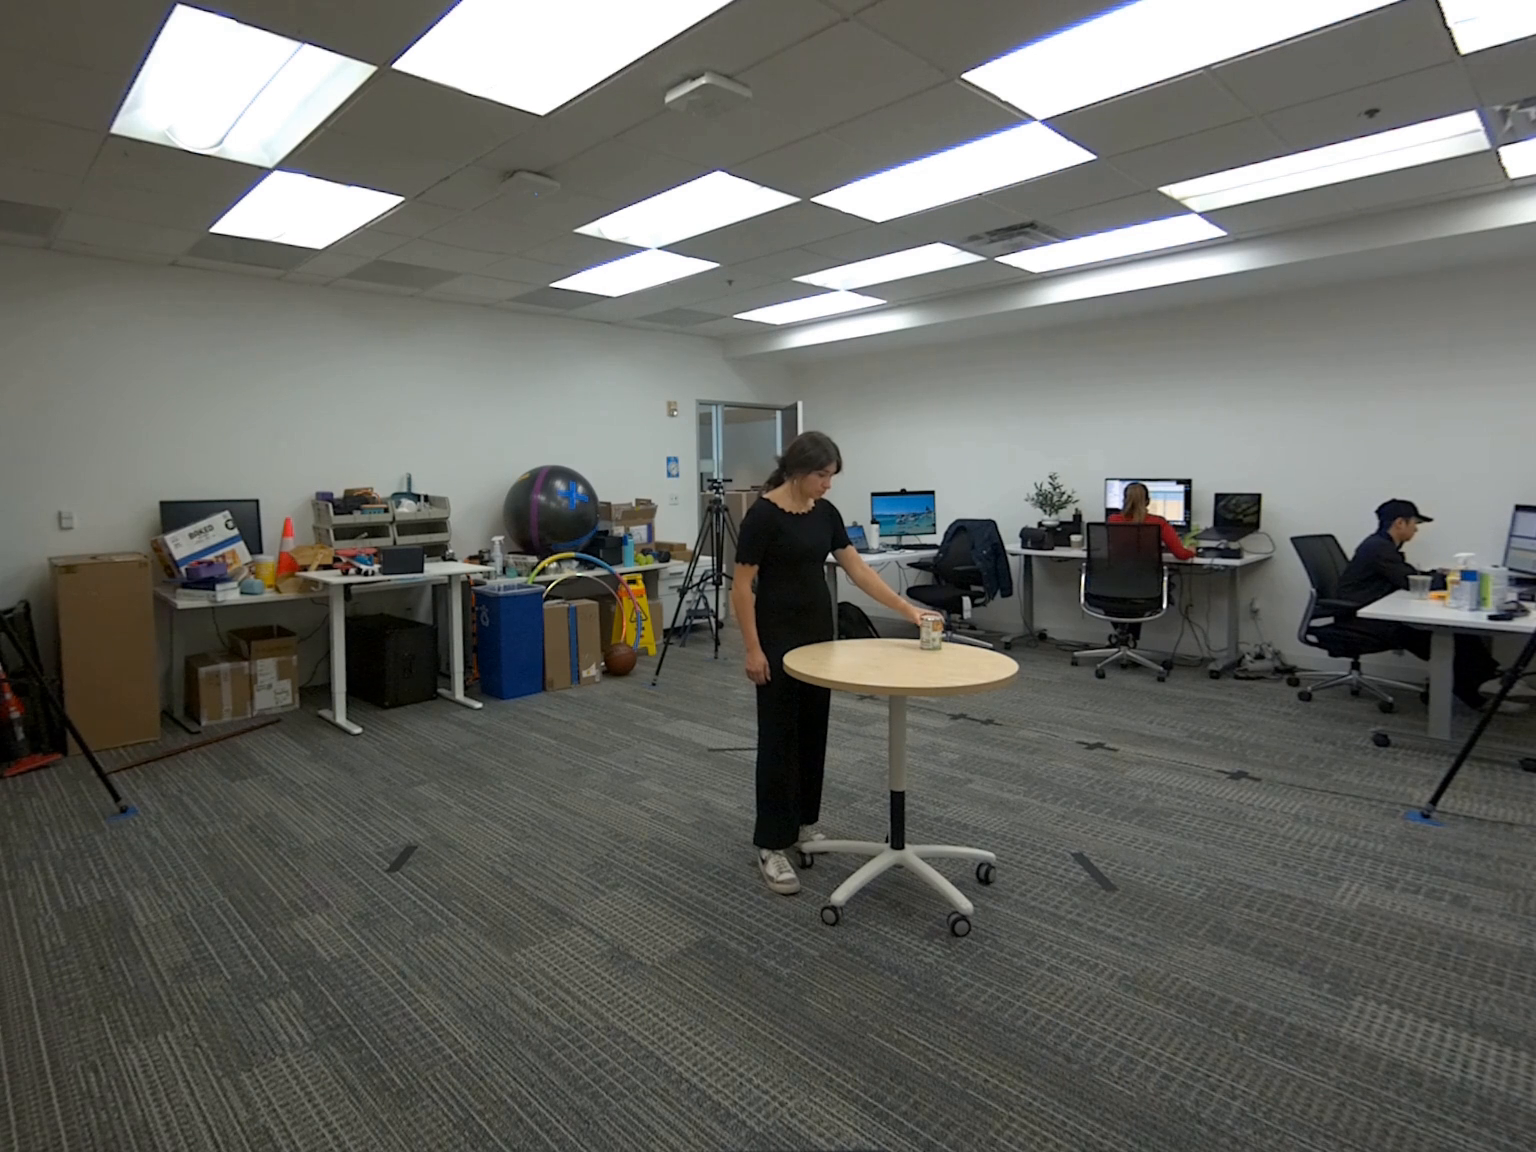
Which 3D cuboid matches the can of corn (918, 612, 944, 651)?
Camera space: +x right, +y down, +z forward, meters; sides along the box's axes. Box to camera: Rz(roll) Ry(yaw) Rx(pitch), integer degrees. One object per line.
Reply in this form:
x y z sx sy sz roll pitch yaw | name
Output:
0.579 0.203 3.042 0.074 0.110 0.075 -2 6 -1 | can of corn
